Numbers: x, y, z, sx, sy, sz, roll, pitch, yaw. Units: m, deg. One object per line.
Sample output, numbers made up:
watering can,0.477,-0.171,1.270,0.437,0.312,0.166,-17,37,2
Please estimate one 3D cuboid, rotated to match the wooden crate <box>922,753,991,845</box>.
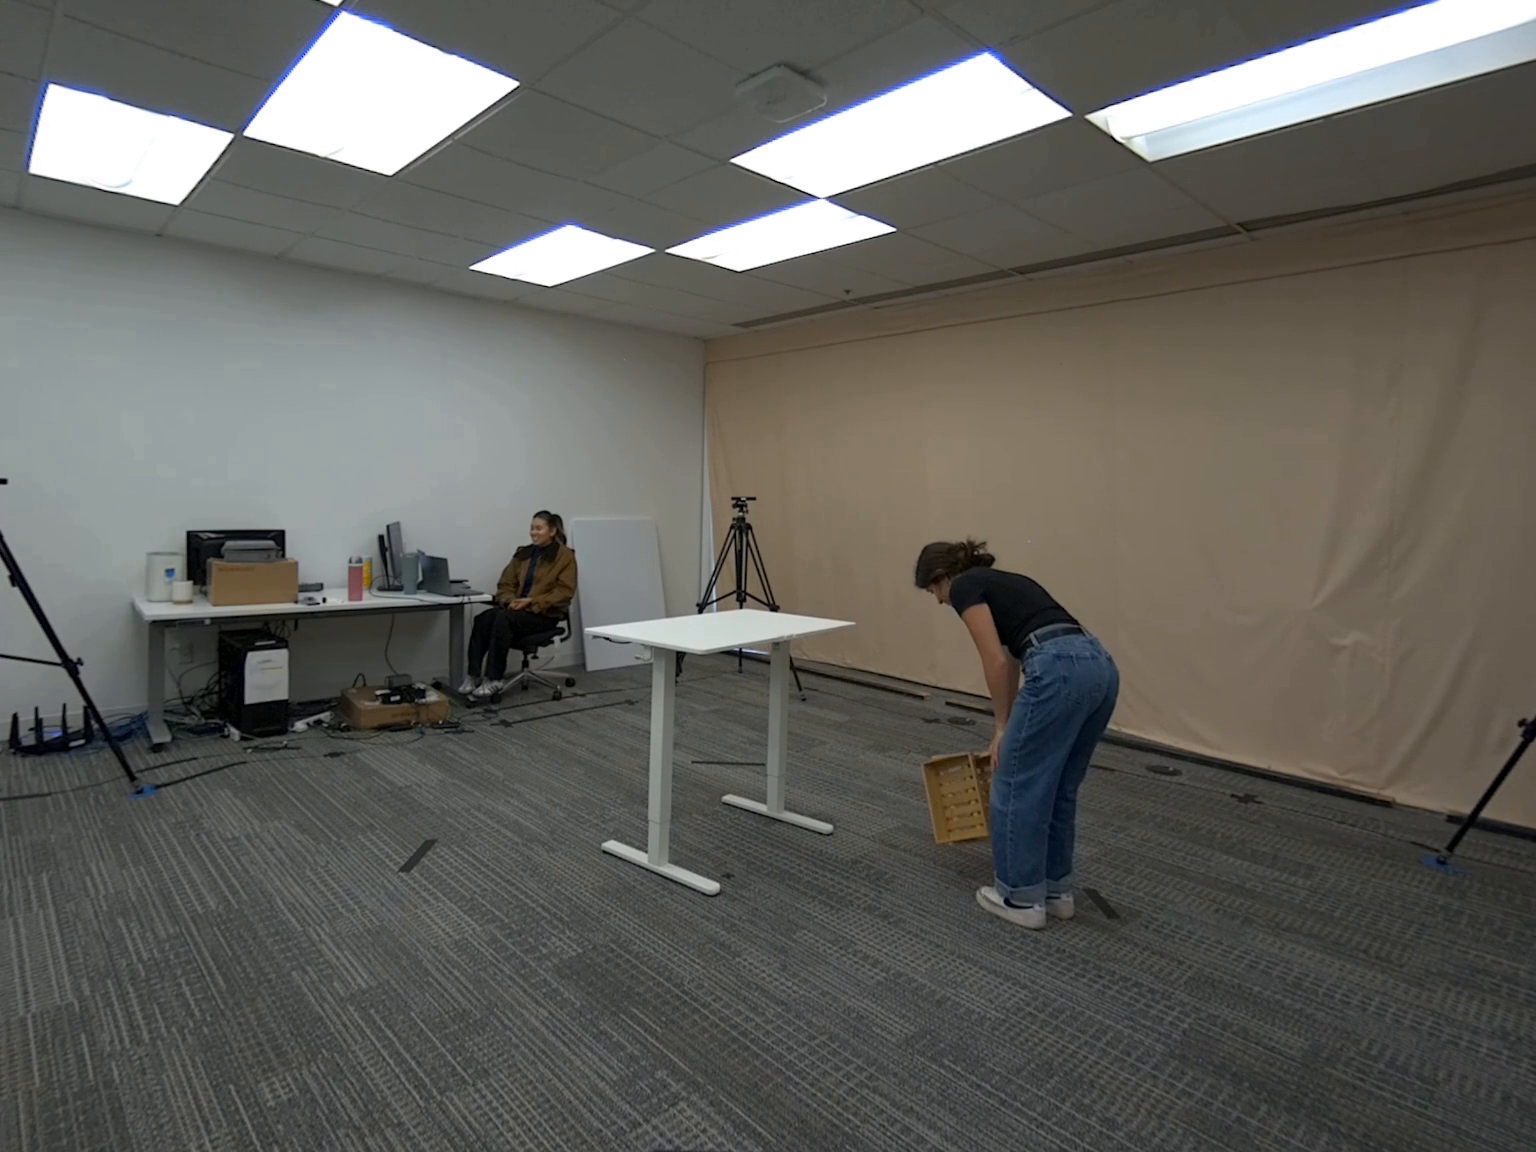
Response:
wooden crate,0.792,0.827,3.182,0.266,0.330,0.304,12,-30,-37
